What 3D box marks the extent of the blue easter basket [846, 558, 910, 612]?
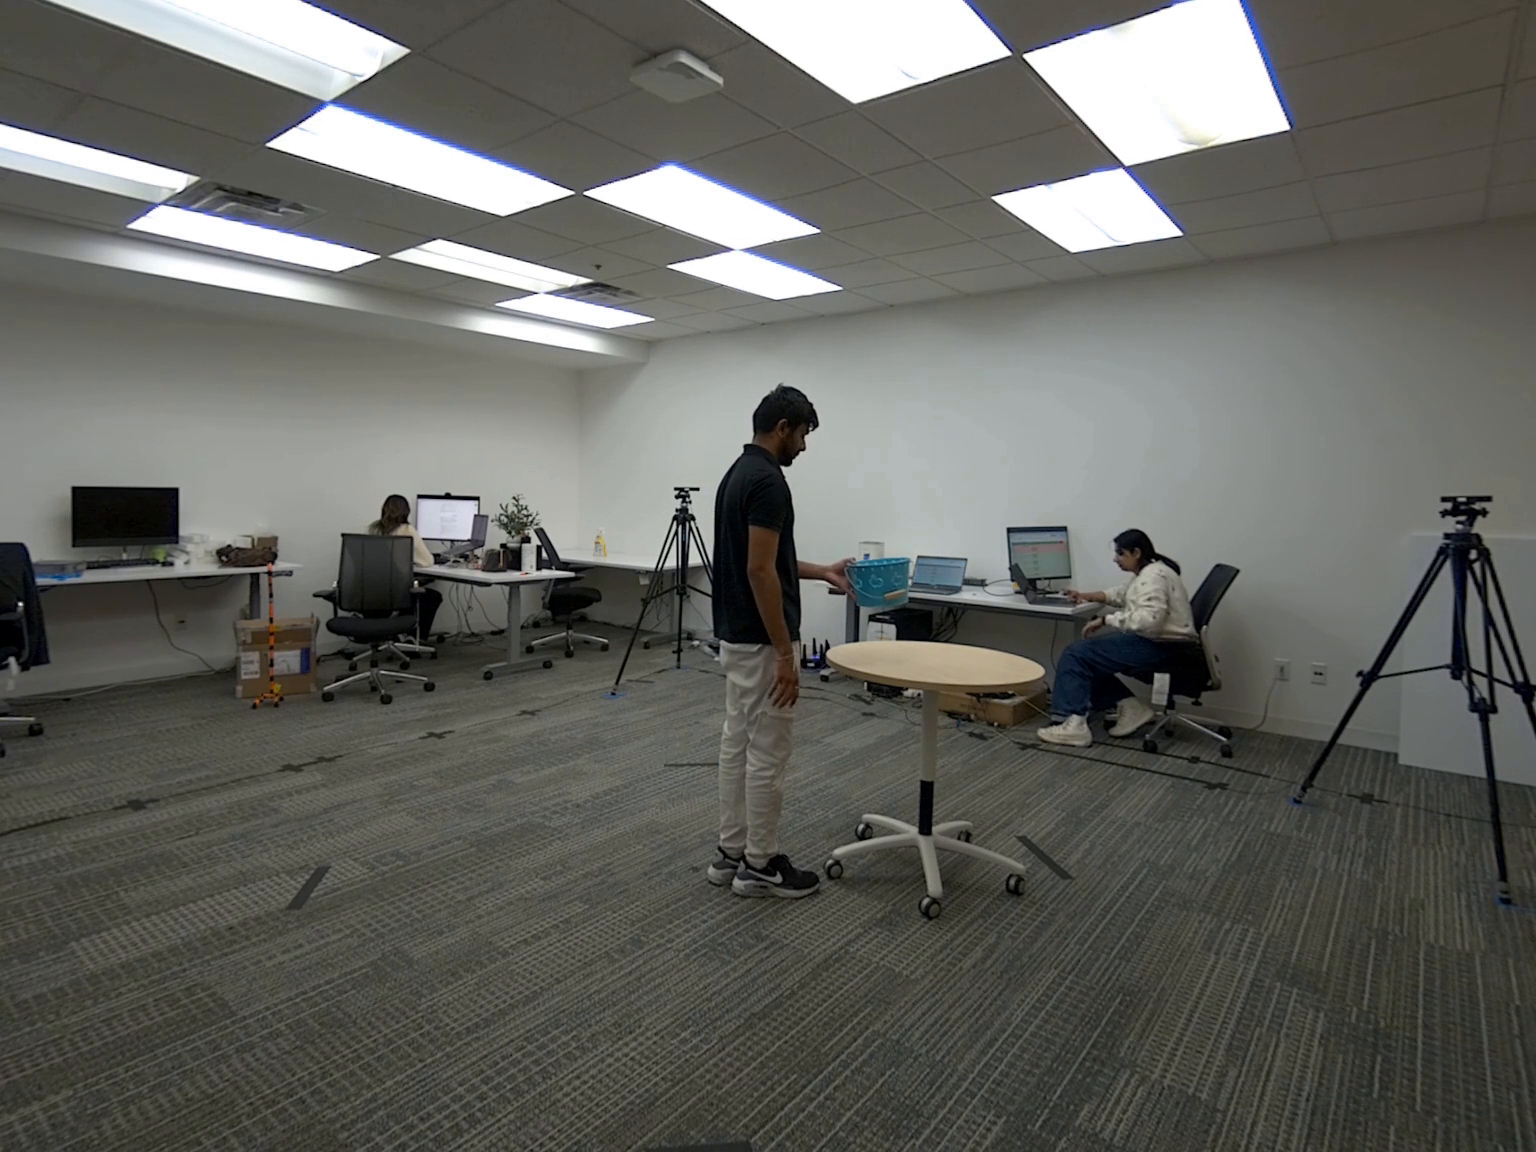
[{"bbox_3d":[0.383,0.022,3.065,0.243,0.155,0.245,-4,6,-1],"label":"blue easter basket"}]
